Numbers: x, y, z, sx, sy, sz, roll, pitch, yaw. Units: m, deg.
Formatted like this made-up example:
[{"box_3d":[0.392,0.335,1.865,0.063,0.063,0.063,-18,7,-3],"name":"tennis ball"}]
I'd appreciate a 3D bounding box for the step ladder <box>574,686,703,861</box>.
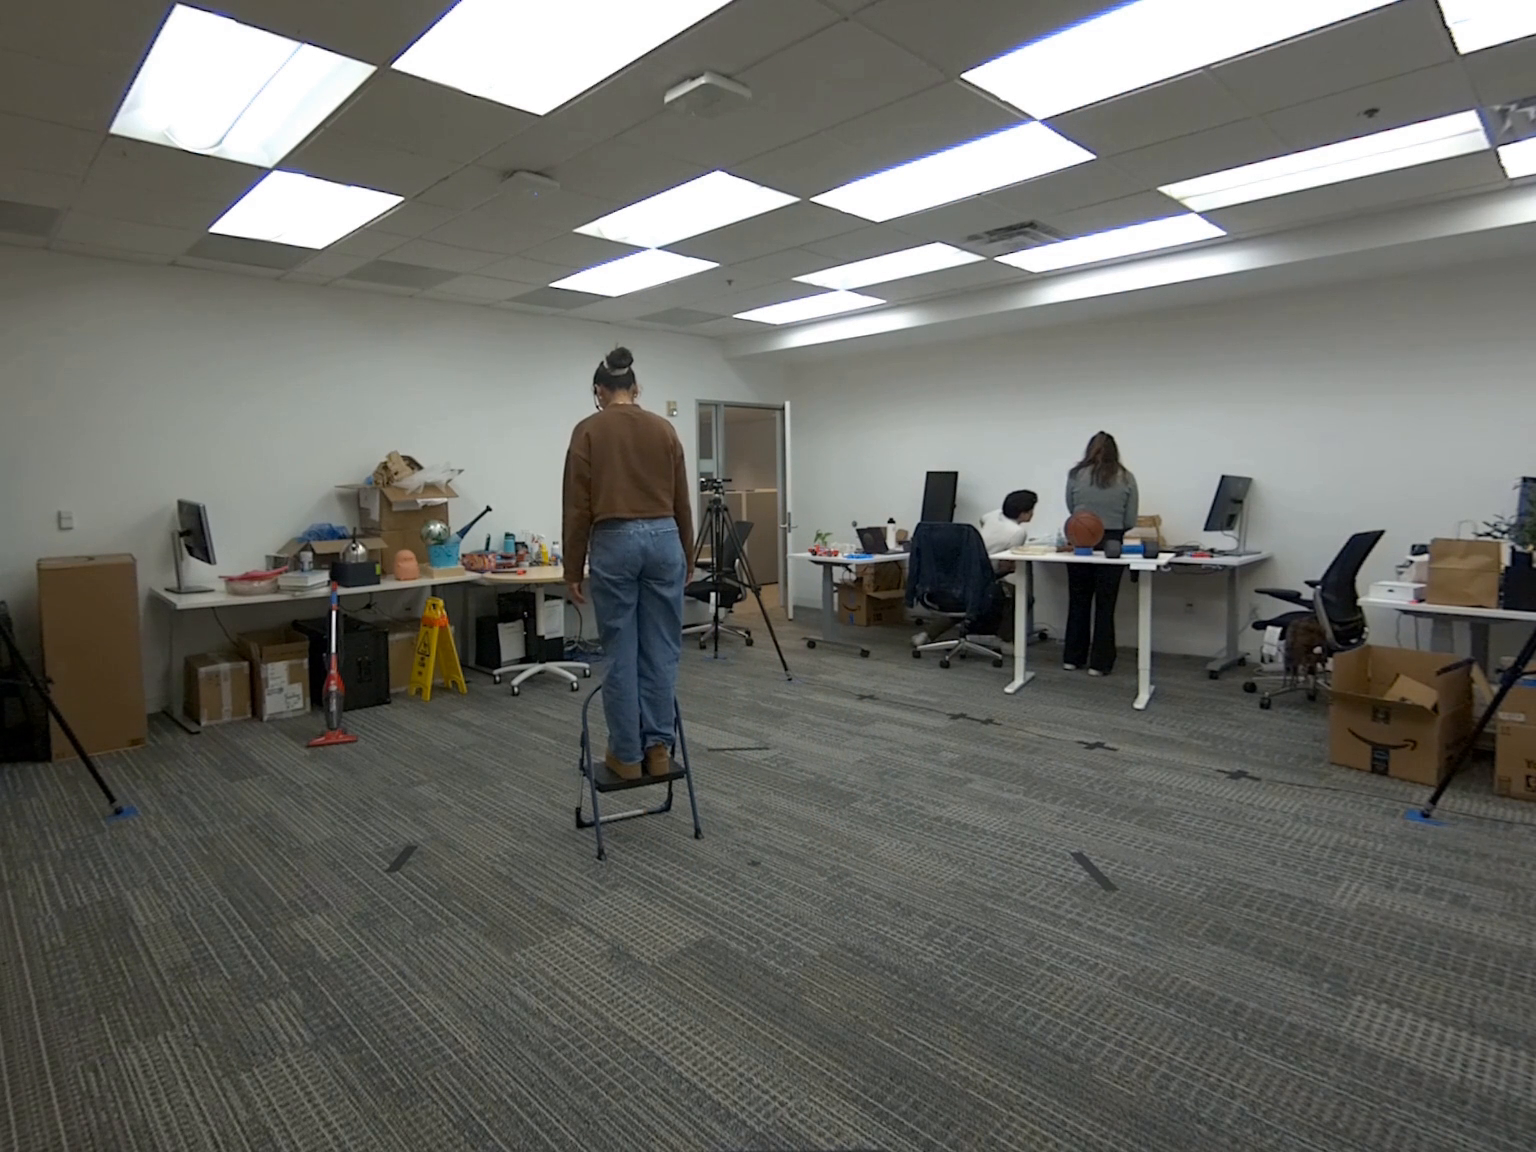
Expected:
[{"box_3d":[-0.524,0.719,3.386,0.421,0.604,0.358,-3,4,-28],"name":"step ladder"}]
